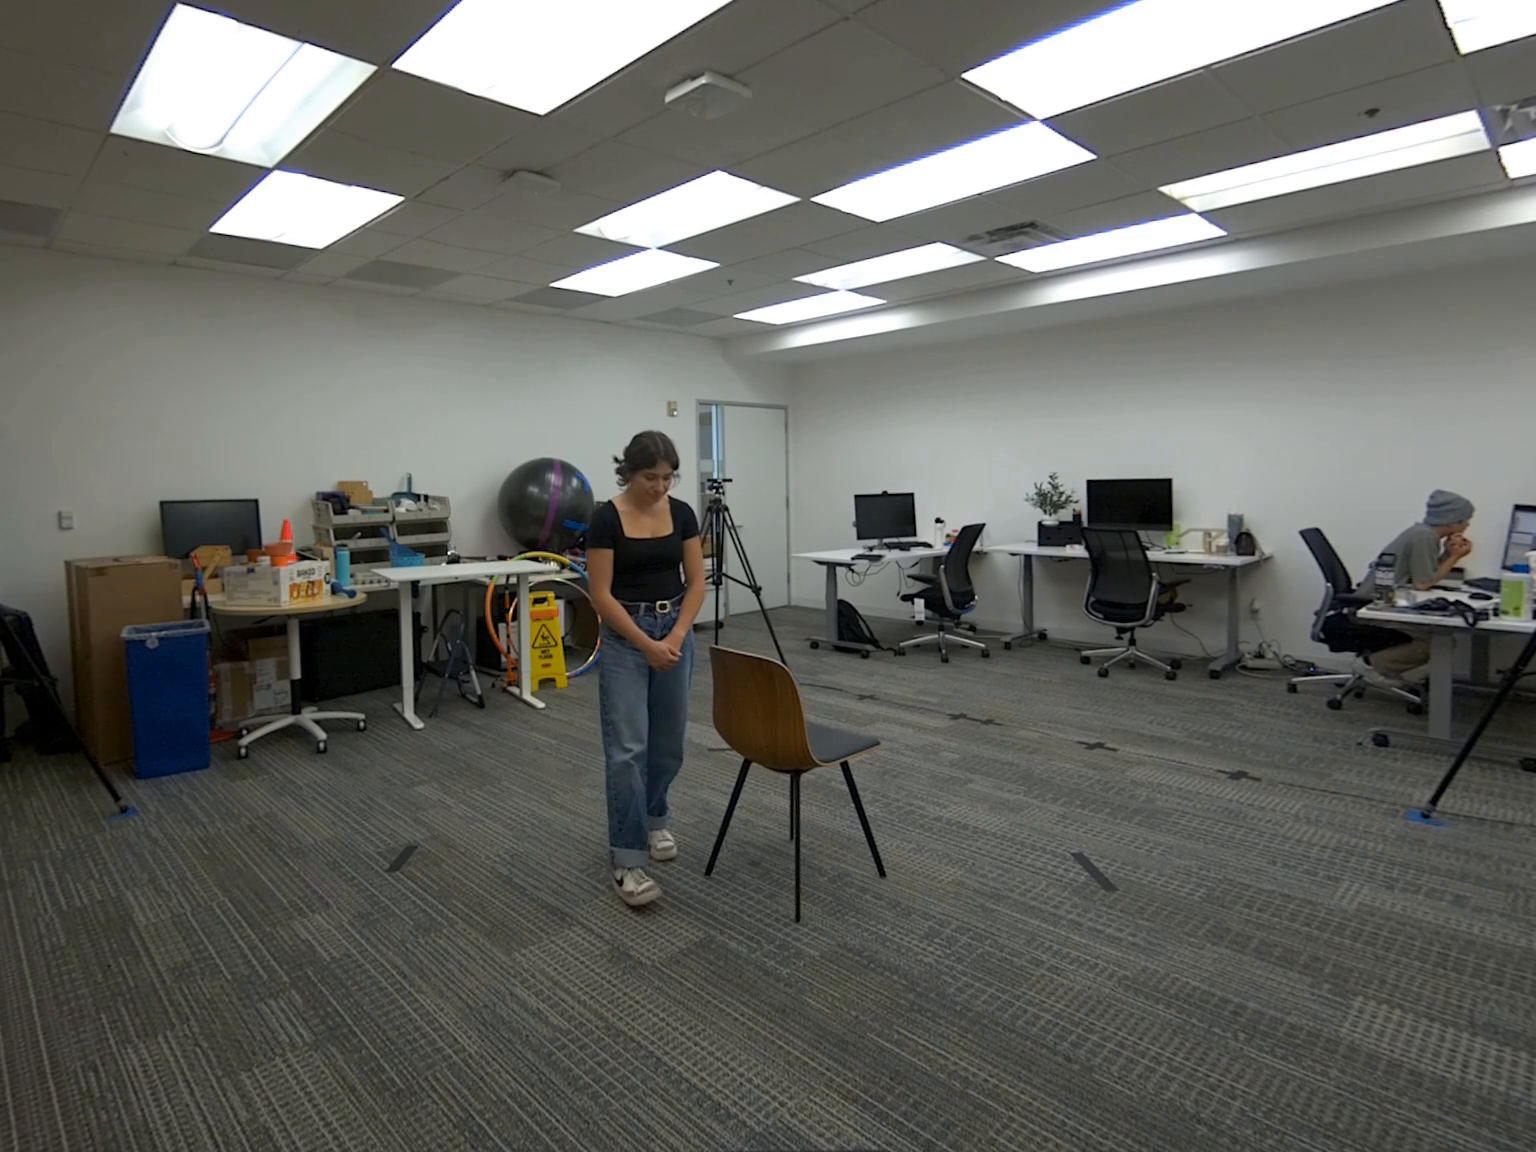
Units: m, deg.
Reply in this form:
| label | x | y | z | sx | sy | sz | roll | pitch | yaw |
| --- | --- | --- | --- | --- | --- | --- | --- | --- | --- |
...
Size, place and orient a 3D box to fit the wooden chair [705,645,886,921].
| label | x | y | z | sx | sy | sz | roll | pitch | yaw |
| --- | --- | --- | --- | --- | --- | --- | --- | --- | --- |
| wooden chair | 0.096 | 0.632 | 2.966 | 0.511 | 0.871 | 0.493 | -11 | 10 | -44 |
